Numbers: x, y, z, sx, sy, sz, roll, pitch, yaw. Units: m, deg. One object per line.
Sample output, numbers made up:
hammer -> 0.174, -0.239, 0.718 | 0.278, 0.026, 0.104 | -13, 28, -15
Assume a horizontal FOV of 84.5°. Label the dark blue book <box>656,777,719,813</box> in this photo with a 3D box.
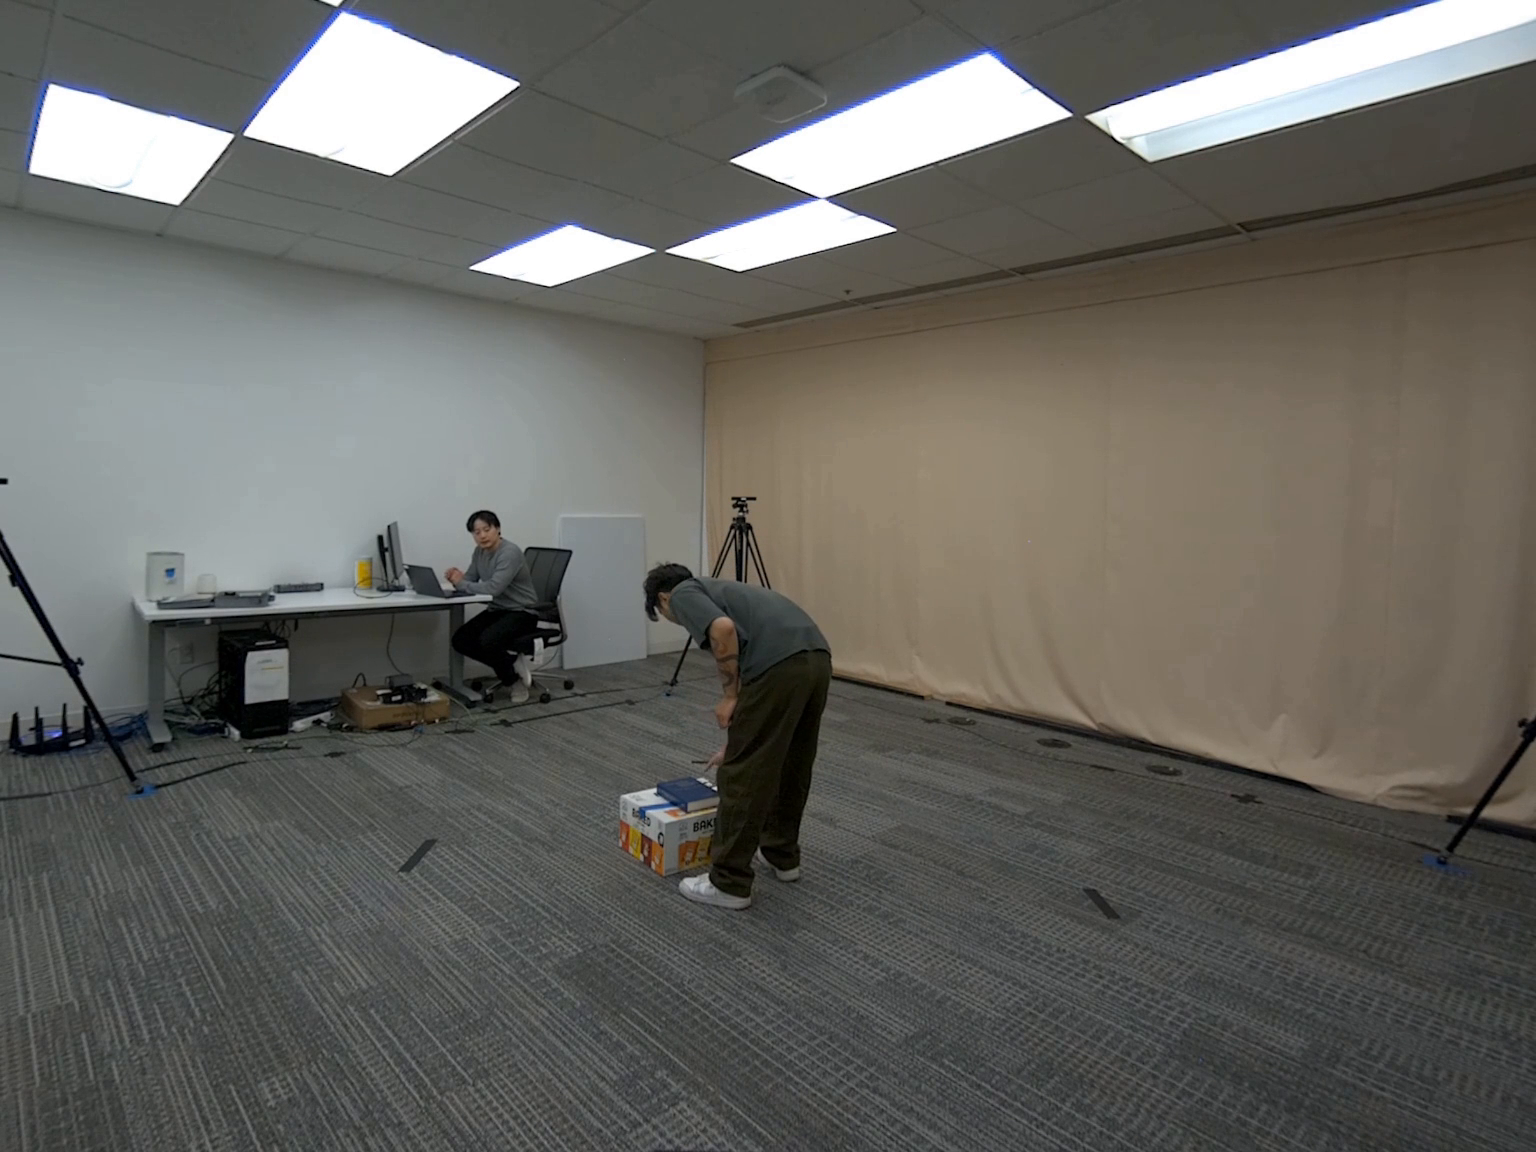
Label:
dark blue book -> -0.317, 0.864, 3.334 | 0.160, 0.045, 0.251 | -2, 6, -34
